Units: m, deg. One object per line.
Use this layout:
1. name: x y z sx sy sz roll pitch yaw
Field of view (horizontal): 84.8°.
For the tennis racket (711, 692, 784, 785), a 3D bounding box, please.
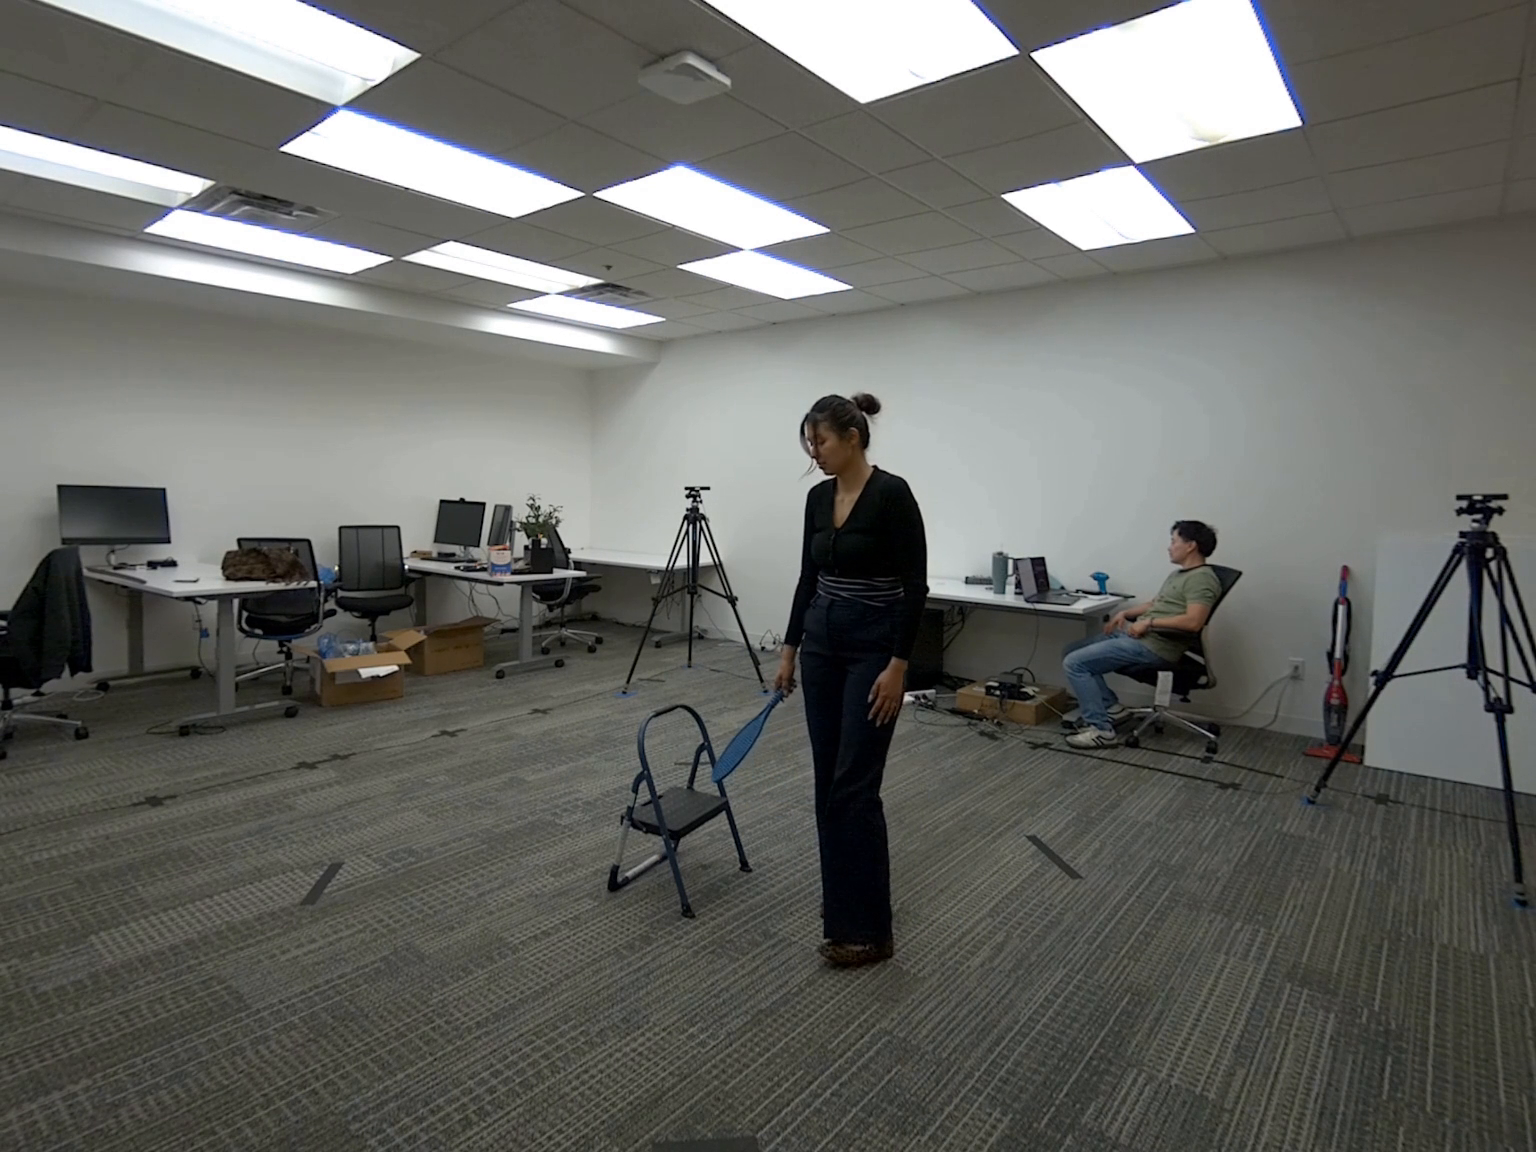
1. tennis racket: -0.060 0.524 2.845 0.031 0.434 0.216 34 -13 -14
